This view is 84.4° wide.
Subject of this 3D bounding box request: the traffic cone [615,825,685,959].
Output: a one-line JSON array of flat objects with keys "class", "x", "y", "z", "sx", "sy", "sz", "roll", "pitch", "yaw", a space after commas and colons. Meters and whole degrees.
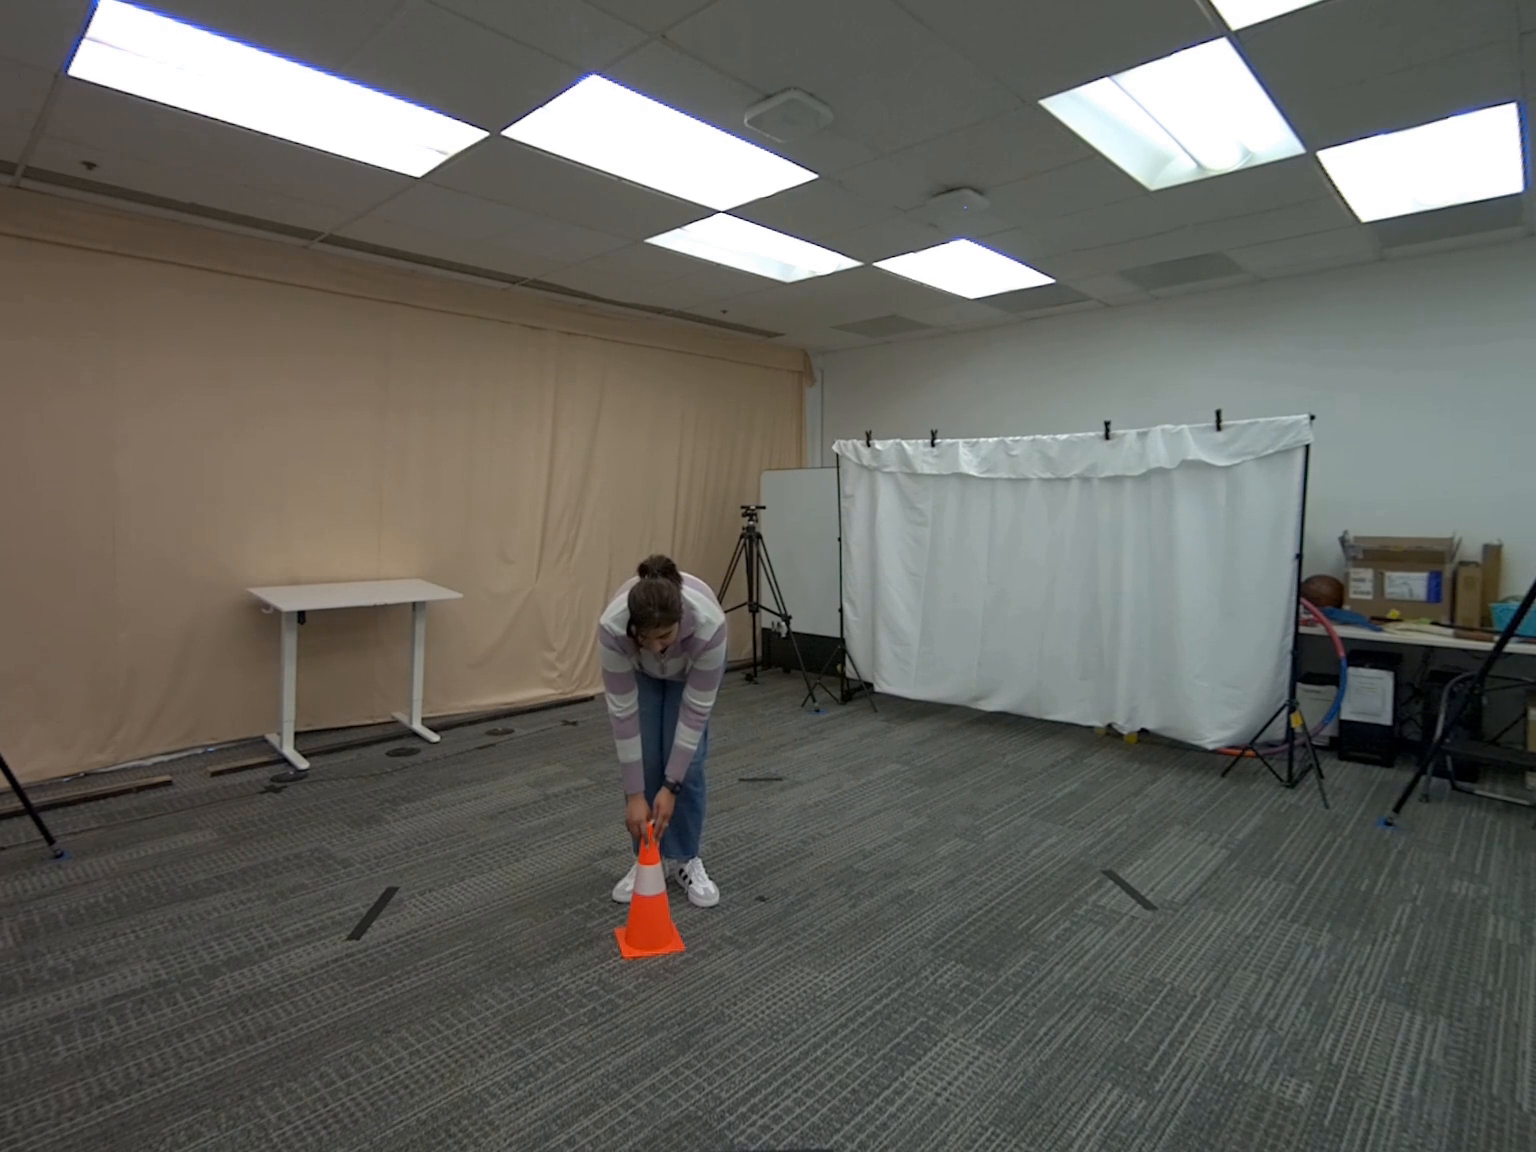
[{"class": "traffic cone", "x": -0.374, "y": 0.978, "z": 2.705, "sx": 0.201, "sy": 0.383, "sz": 0.207, "roll": 1, "pitch": 4, "yaw": -18}]
